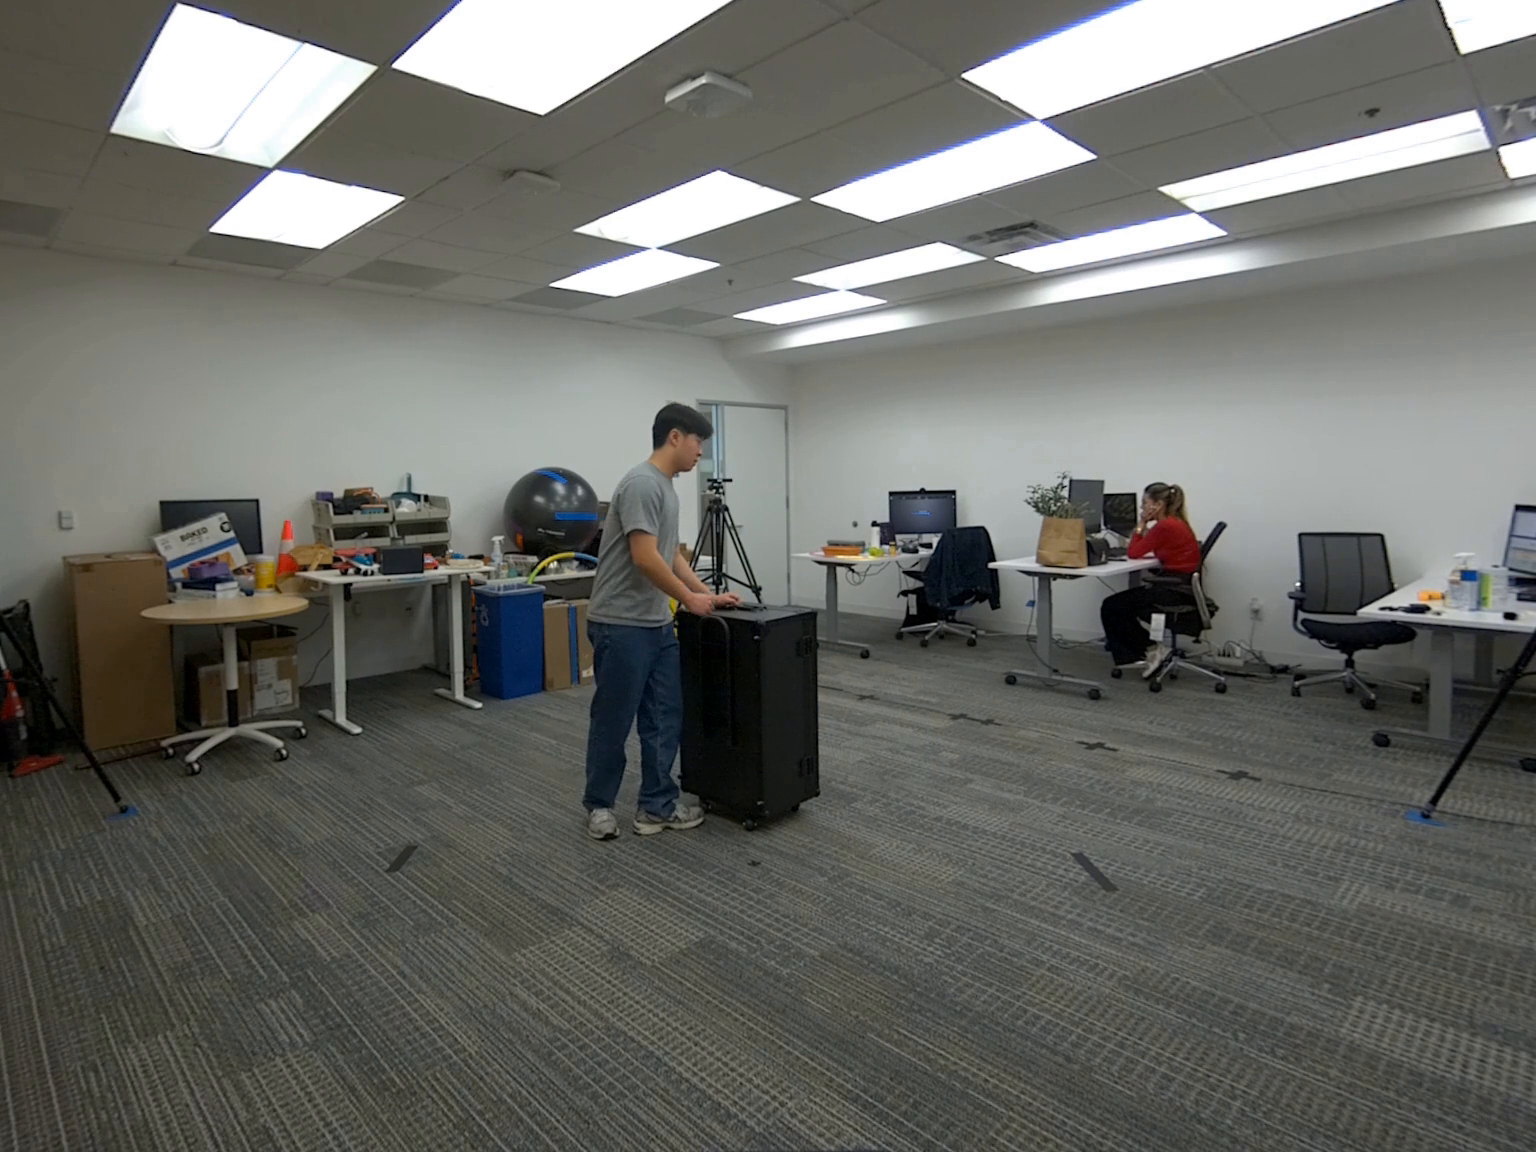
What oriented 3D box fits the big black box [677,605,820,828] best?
[{"bbox_3d":[-0.087,0.564,3.587,0.537,0.857,0.386,4,7,43],"label":"big black box"}]
